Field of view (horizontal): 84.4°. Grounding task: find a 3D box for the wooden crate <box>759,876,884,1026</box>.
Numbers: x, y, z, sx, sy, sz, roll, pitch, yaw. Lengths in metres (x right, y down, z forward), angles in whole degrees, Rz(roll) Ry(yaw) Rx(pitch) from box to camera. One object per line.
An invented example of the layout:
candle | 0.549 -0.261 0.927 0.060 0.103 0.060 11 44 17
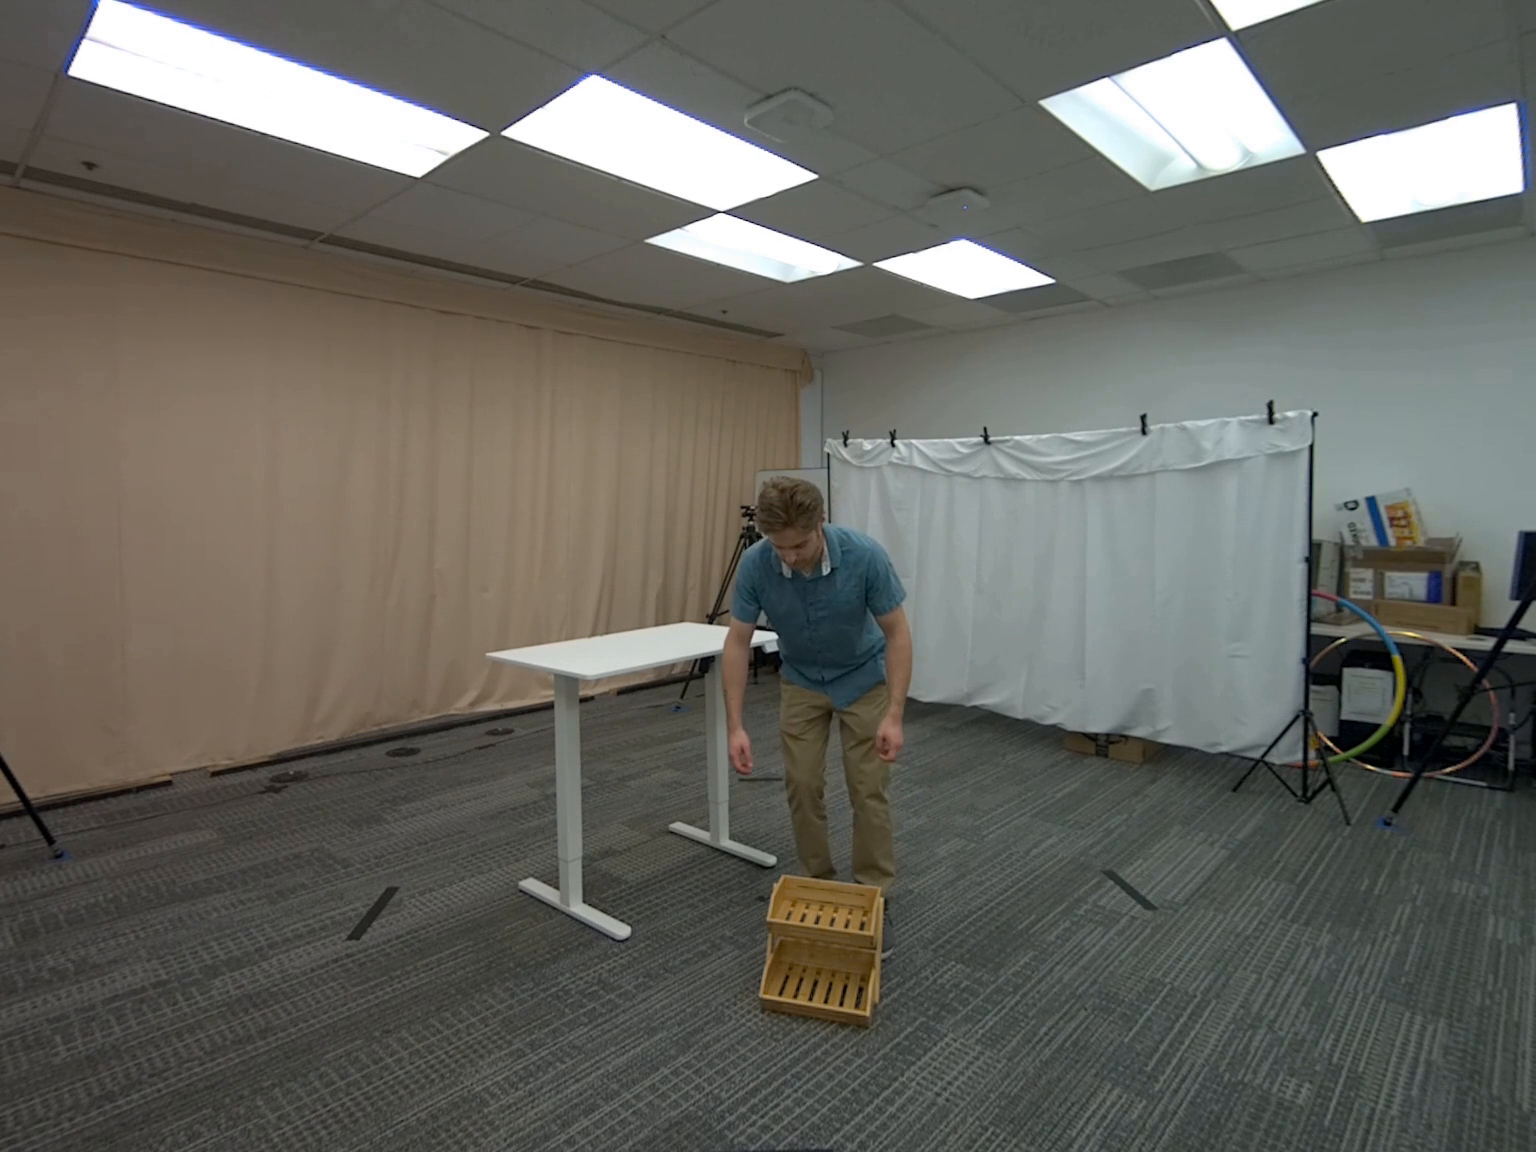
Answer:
wooden crate | 0.161 1.060 2.397 0.330 0.273 0.297 1 3 15
